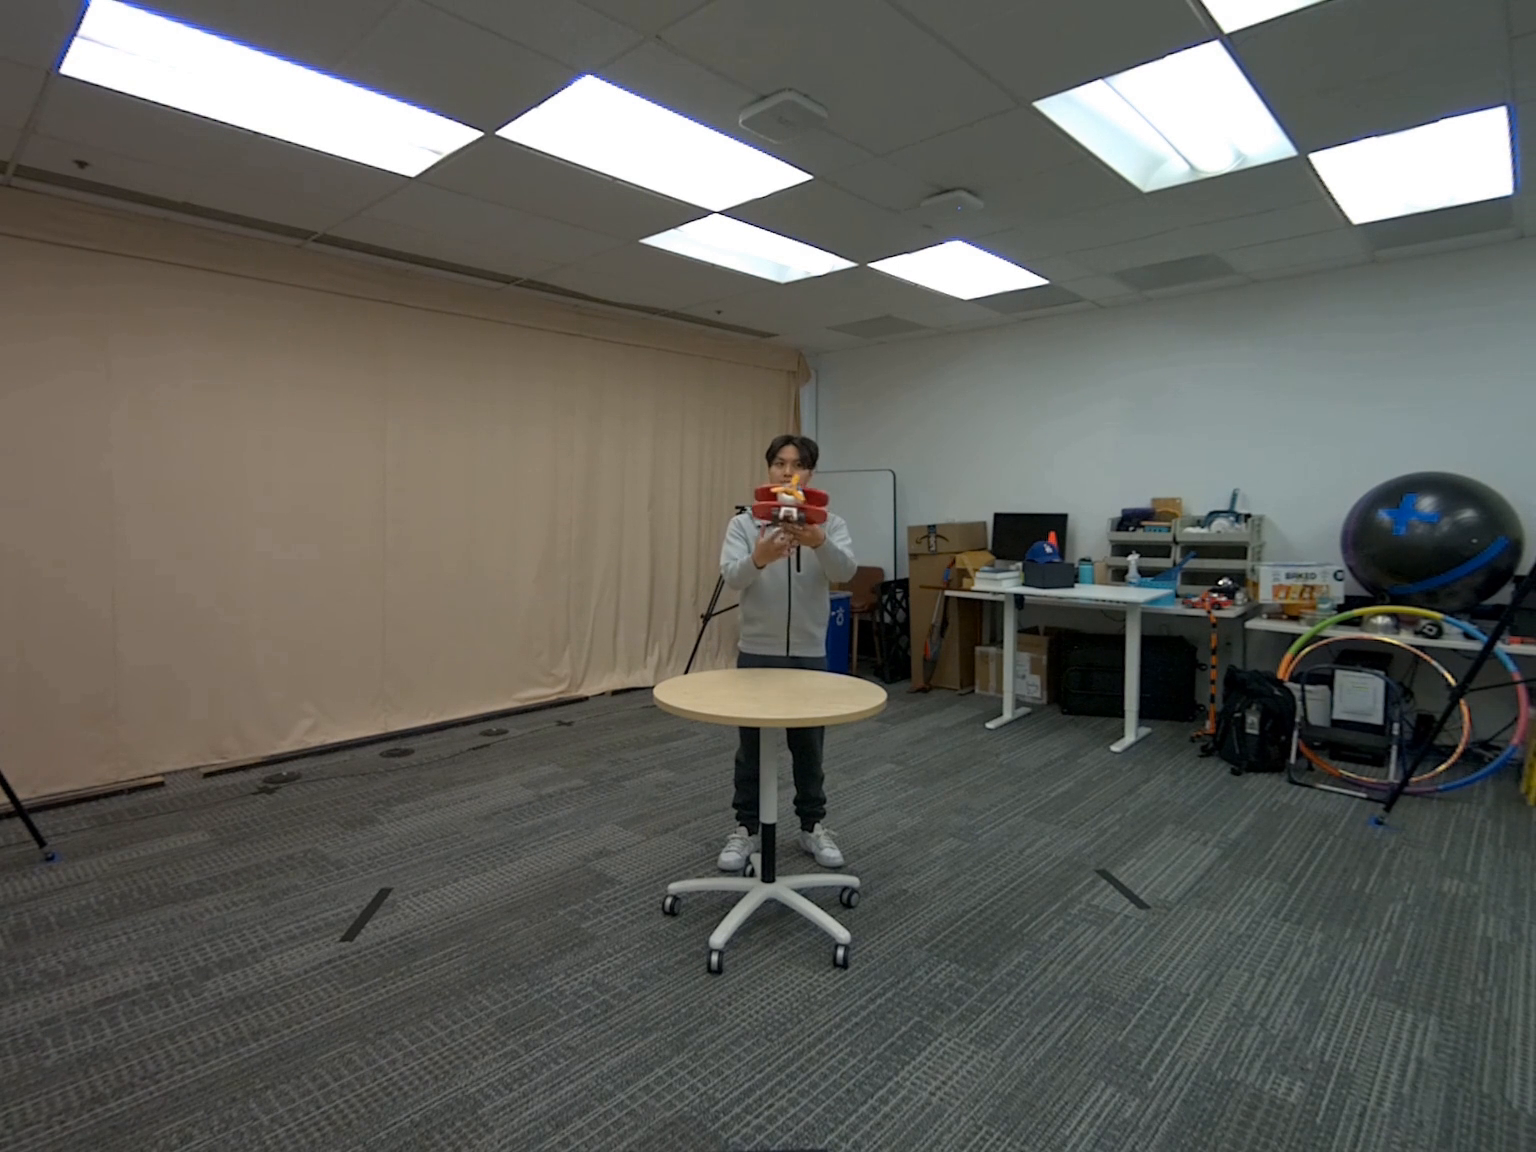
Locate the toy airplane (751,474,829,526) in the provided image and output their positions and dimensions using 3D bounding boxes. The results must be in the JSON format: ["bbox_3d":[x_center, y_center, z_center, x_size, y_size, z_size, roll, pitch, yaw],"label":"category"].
[{"bbox_3d":[0.053,-0.171,2.898,0.245,0.158,0.262,20,-27,-20],"label":"toy airplane"}]
